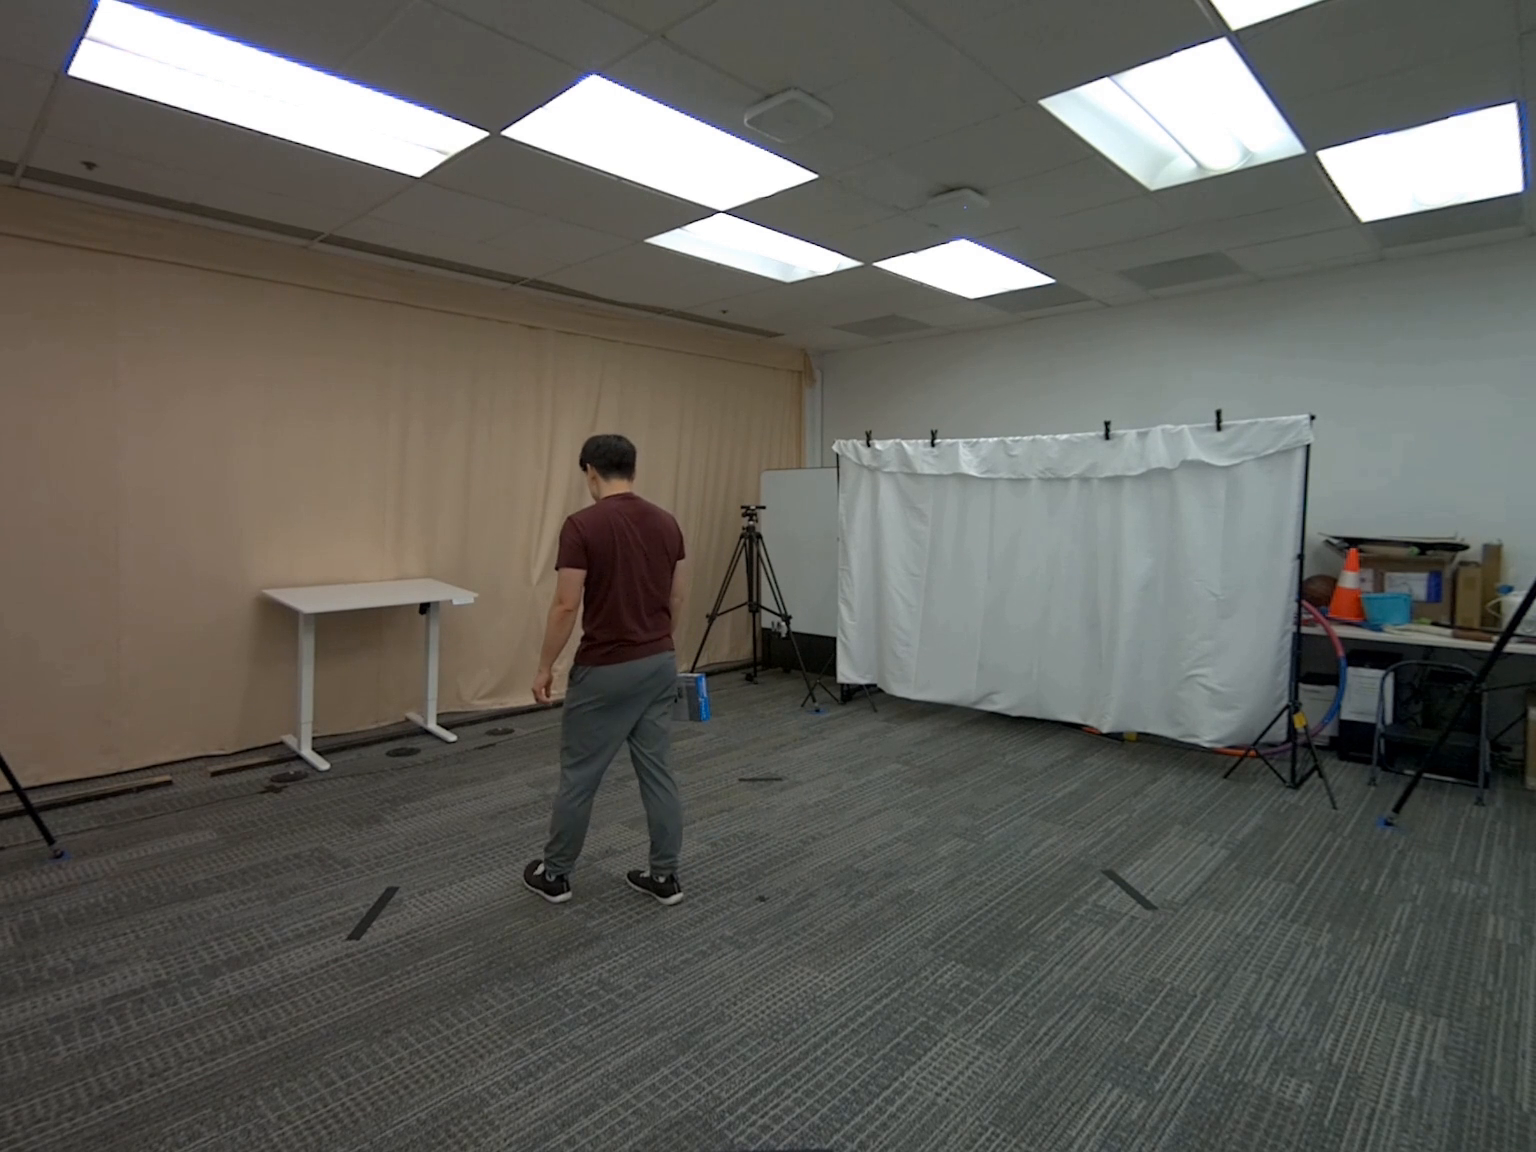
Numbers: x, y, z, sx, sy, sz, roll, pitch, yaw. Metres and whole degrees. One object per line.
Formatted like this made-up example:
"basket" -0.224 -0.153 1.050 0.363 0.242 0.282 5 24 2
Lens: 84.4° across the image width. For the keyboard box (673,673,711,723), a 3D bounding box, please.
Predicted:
"keyboard box" -0.429 0.471 3.273 0.449 0.176 0.057 -4 2 33
